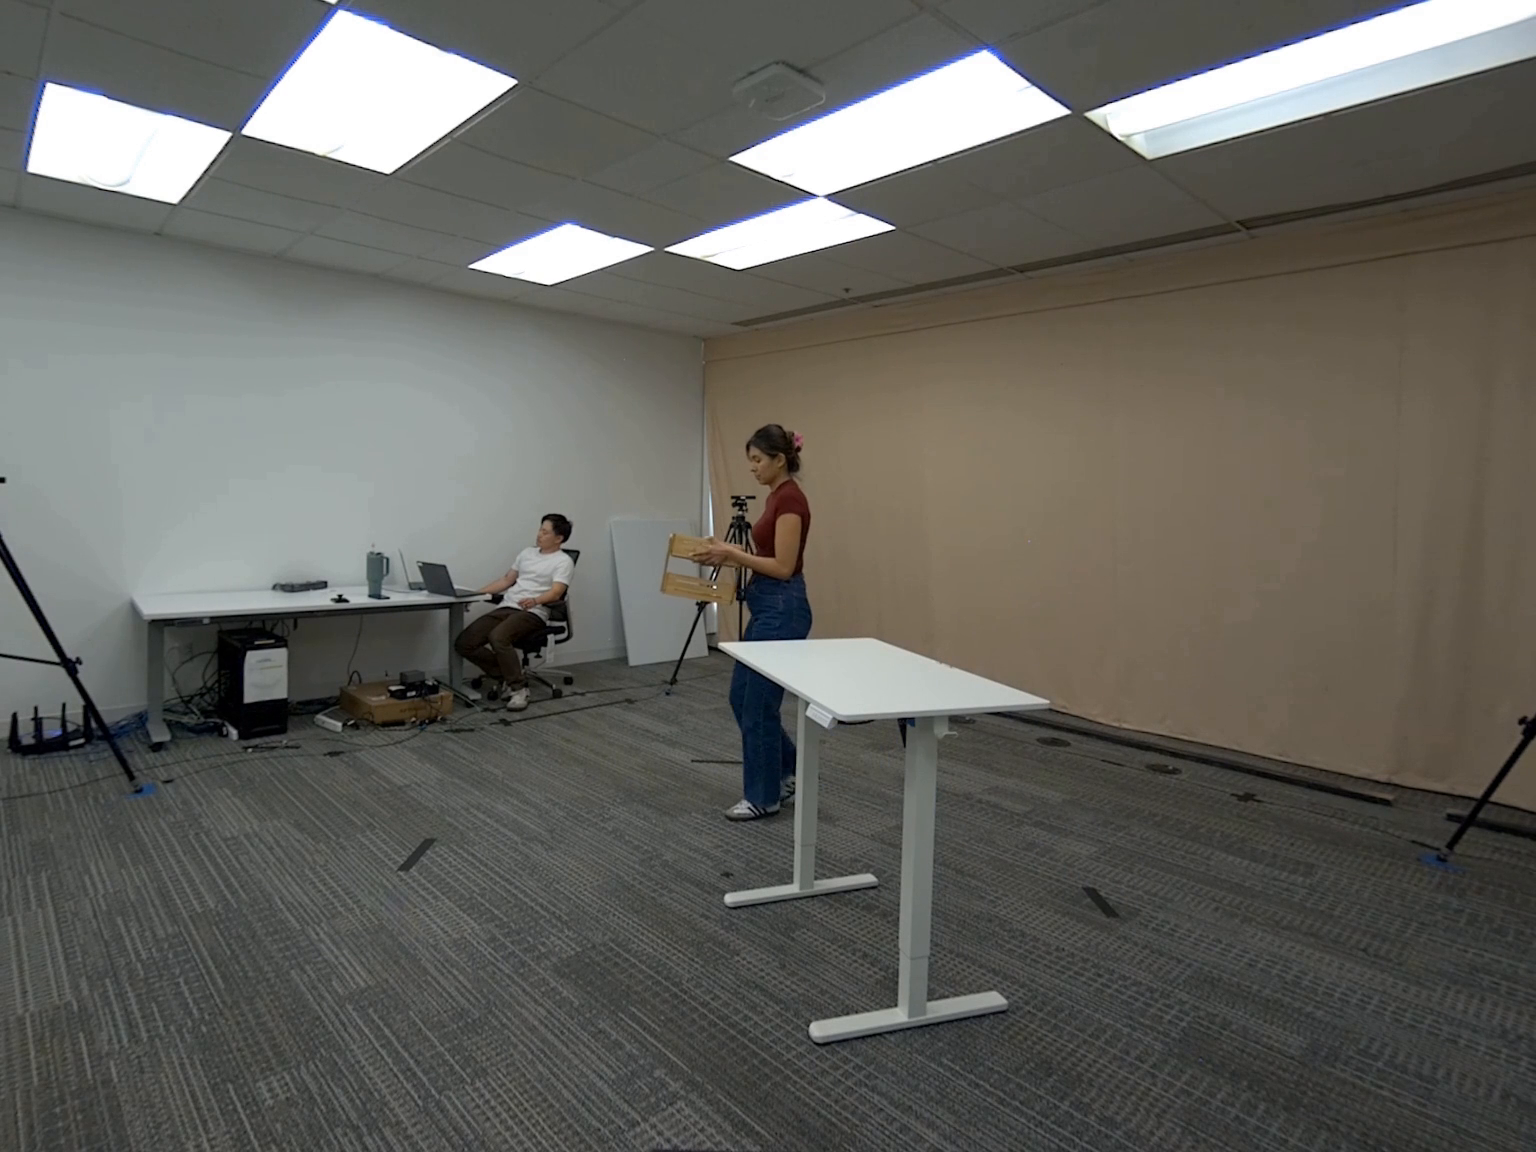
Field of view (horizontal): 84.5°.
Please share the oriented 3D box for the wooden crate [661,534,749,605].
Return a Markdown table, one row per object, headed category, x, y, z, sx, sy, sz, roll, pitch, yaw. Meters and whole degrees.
| category | x | y | z | sx | sy | sz | roll | pitch | yaw |
| --- | --- | --- | --- | --- | --- | --- | --- | --- | --- |
| wooden crate | -0.297 | -0.033 | 3.708 | 0.322 | 0.273 | 0.304 | 9 | 0 | -8 |
